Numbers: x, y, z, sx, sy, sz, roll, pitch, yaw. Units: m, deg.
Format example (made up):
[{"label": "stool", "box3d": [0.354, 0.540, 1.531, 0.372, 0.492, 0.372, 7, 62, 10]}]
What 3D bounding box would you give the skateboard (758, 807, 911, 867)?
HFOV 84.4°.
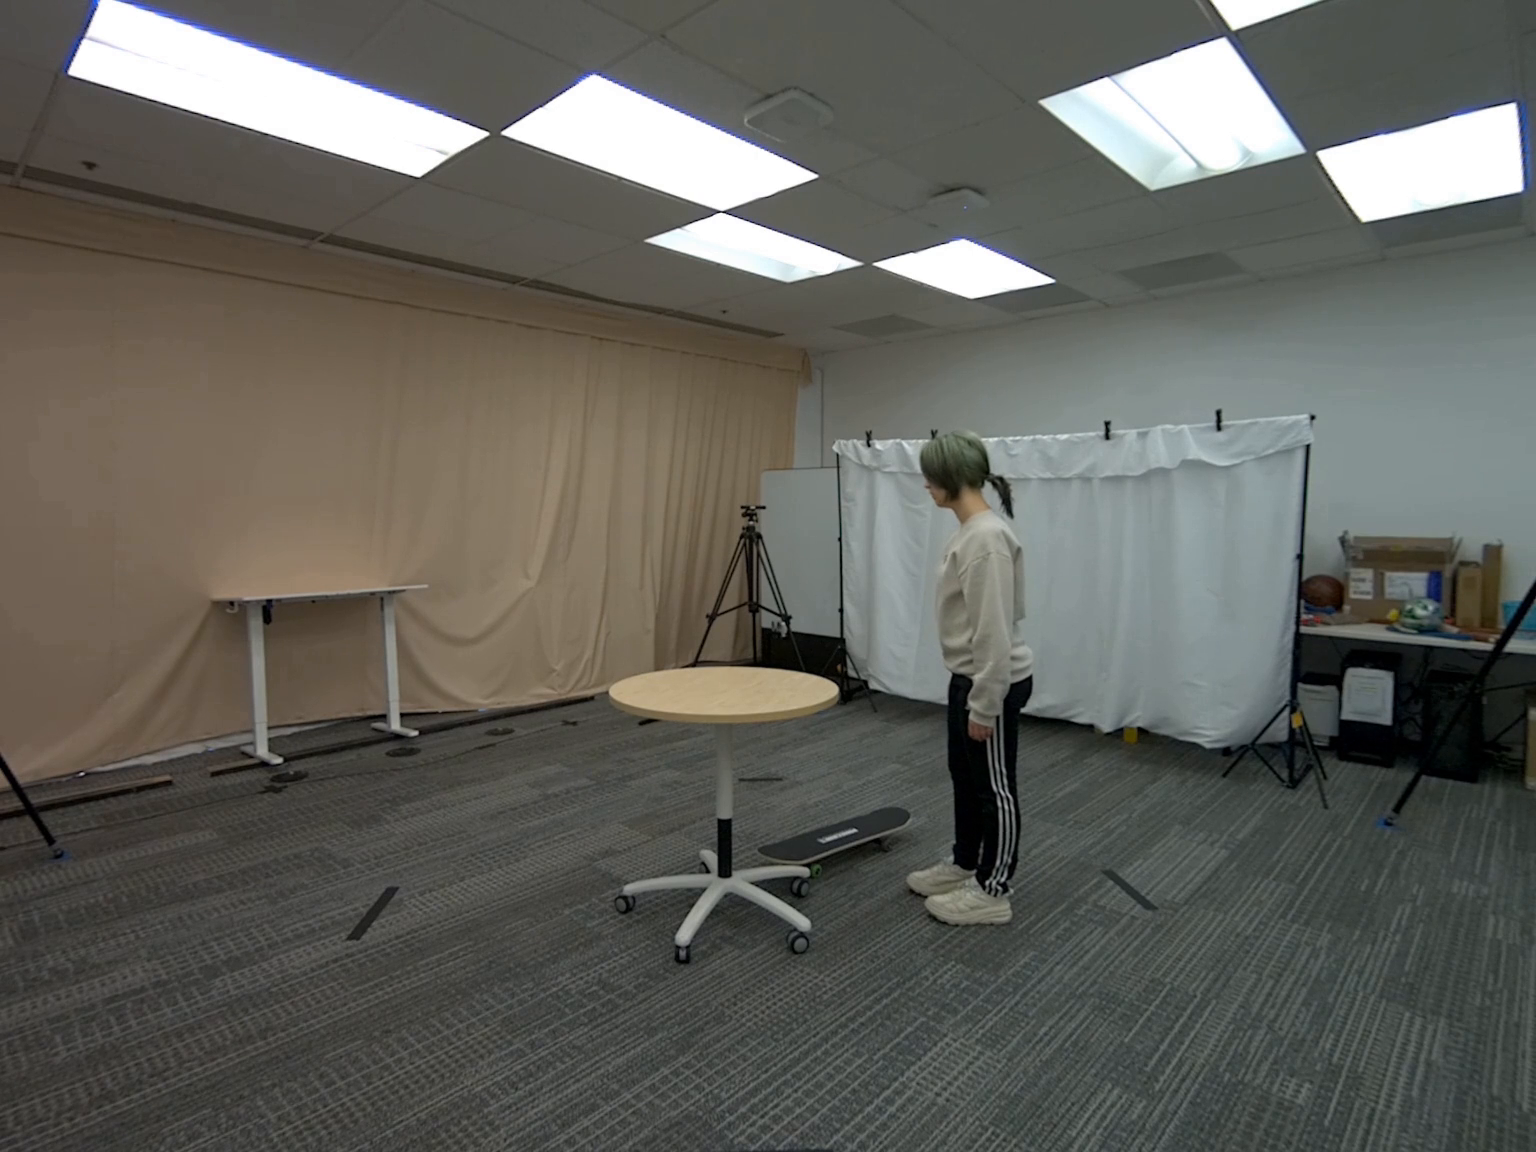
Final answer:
[{"label": "skateboard", "box3d": [0.278, 1.057, 3.322, 0.762, 0.110, 0.200, -4, 6, -39]}]
